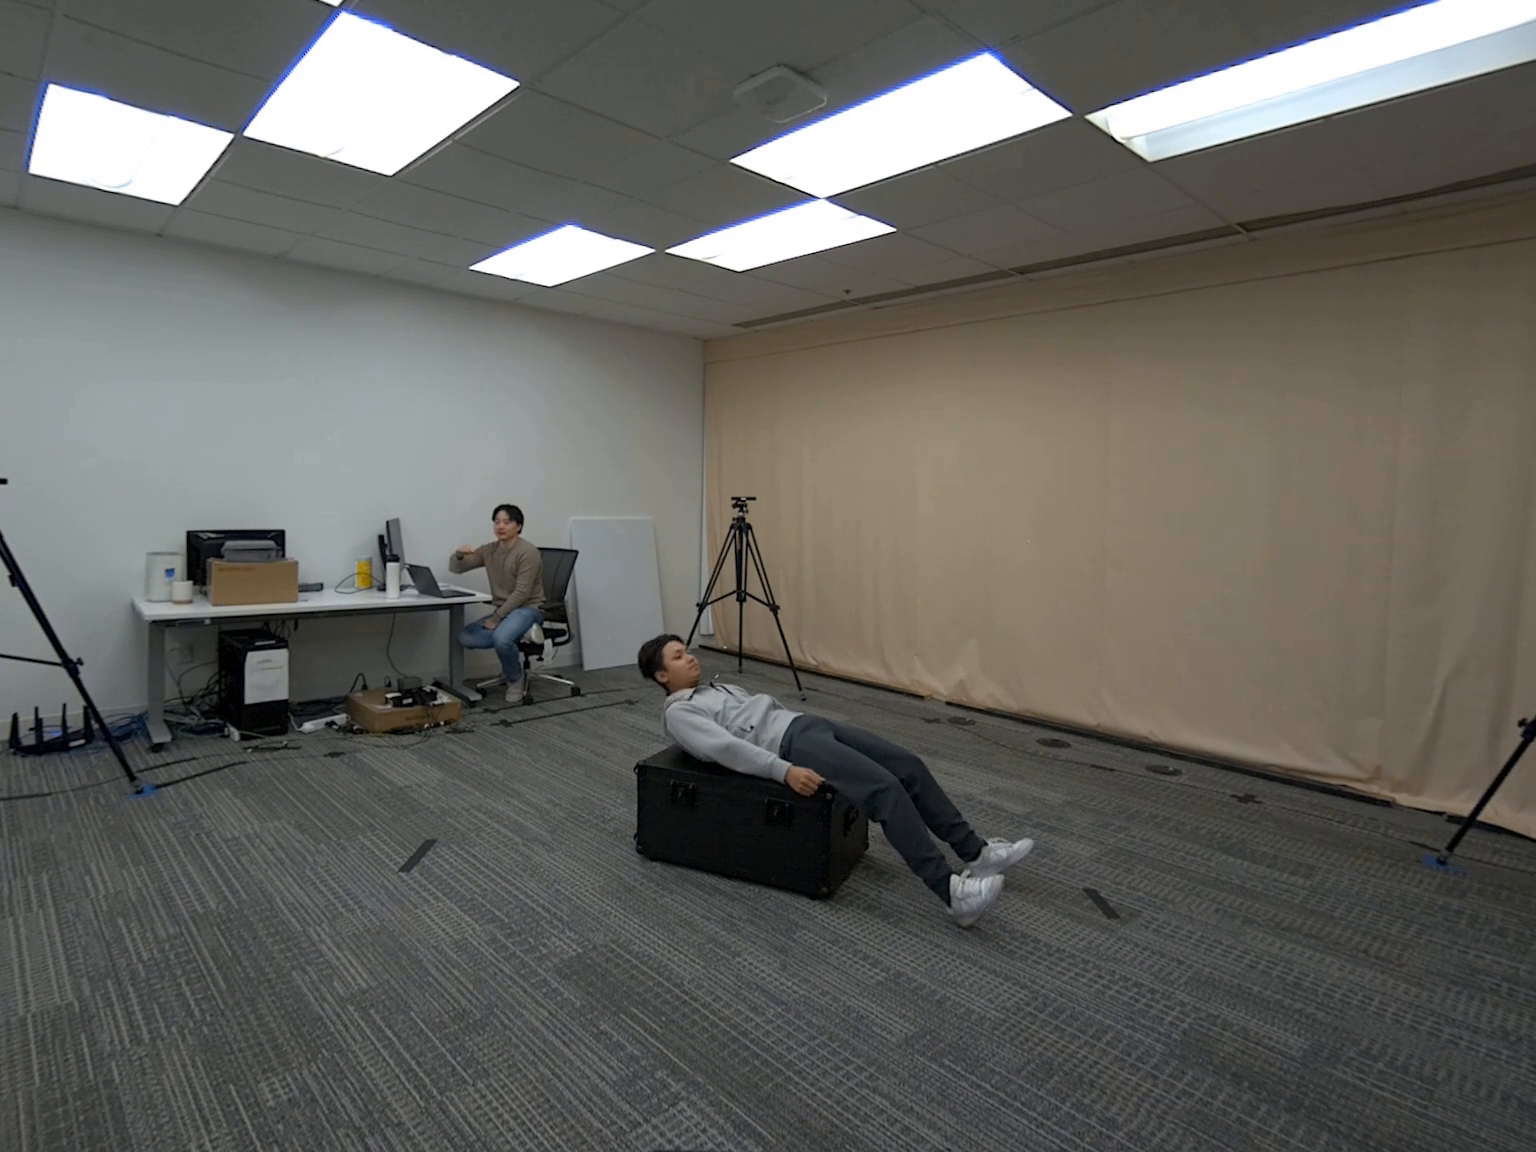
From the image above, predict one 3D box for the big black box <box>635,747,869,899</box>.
[{"bbox_3d":[-0.033,0.906,3.252,0.878,0.395,0.513,3,5,25],"label":"big black box"}]
